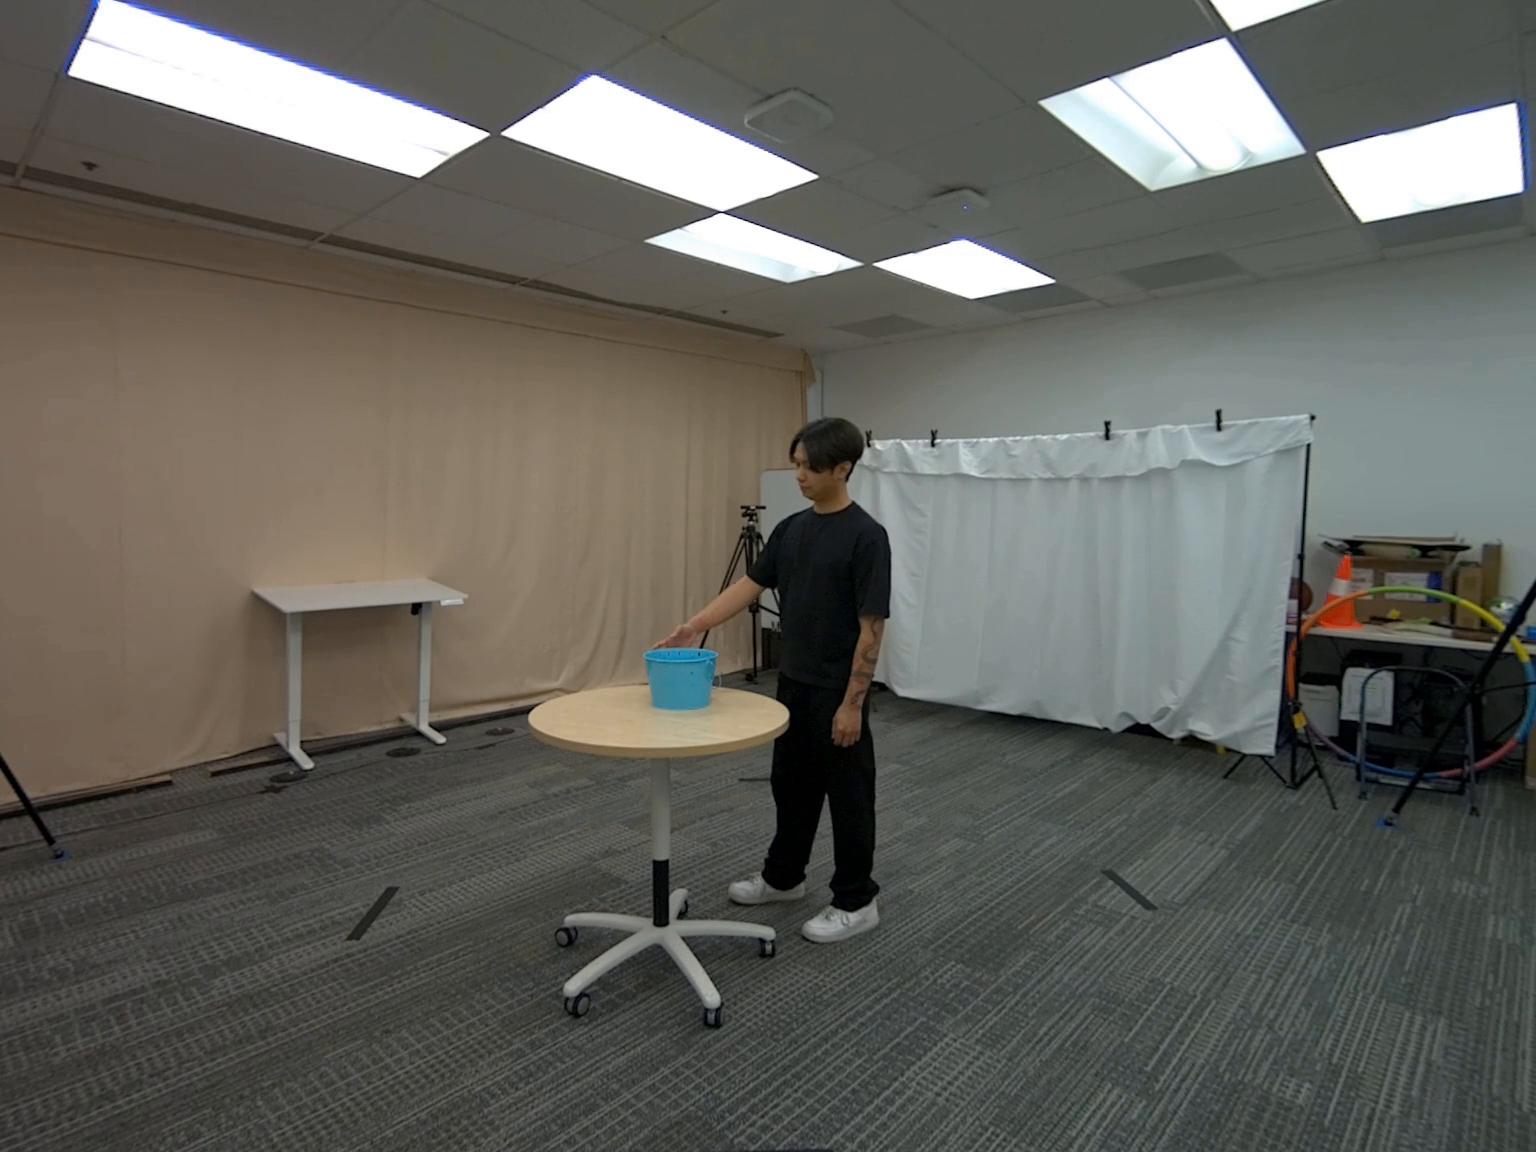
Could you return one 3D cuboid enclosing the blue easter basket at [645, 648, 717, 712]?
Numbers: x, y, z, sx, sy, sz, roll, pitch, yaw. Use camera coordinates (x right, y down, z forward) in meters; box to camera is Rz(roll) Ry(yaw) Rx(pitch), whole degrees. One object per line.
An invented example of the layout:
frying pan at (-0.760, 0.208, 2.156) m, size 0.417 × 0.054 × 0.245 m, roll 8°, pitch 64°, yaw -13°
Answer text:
blue easter basket at (-0.260, 0.322, 2.589) m, size 0.243 × 0.155 × 0.244 m, roll -1°, pitch 4°, yaw -2°
